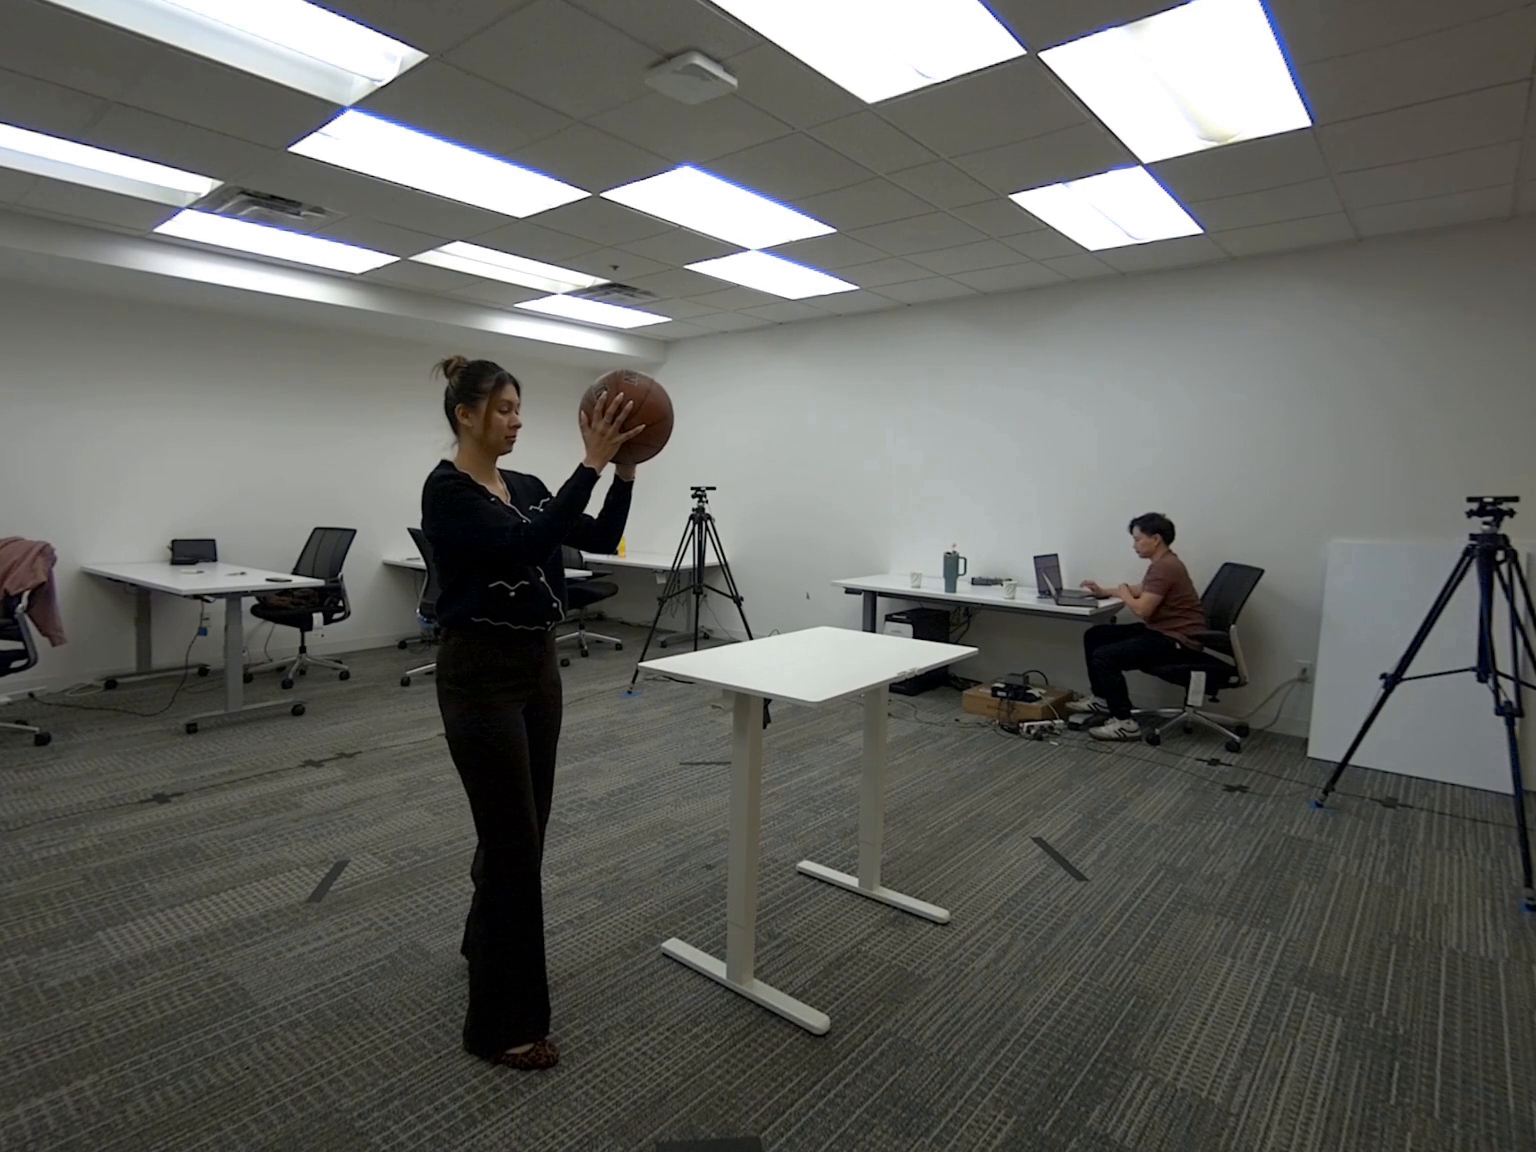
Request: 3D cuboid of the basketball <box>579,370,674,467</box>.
[{"bbox_3d":[-0.362,-0.395,2.103,0.235,0.235,0.237,1,4,-2],"label":"basketball"}]
